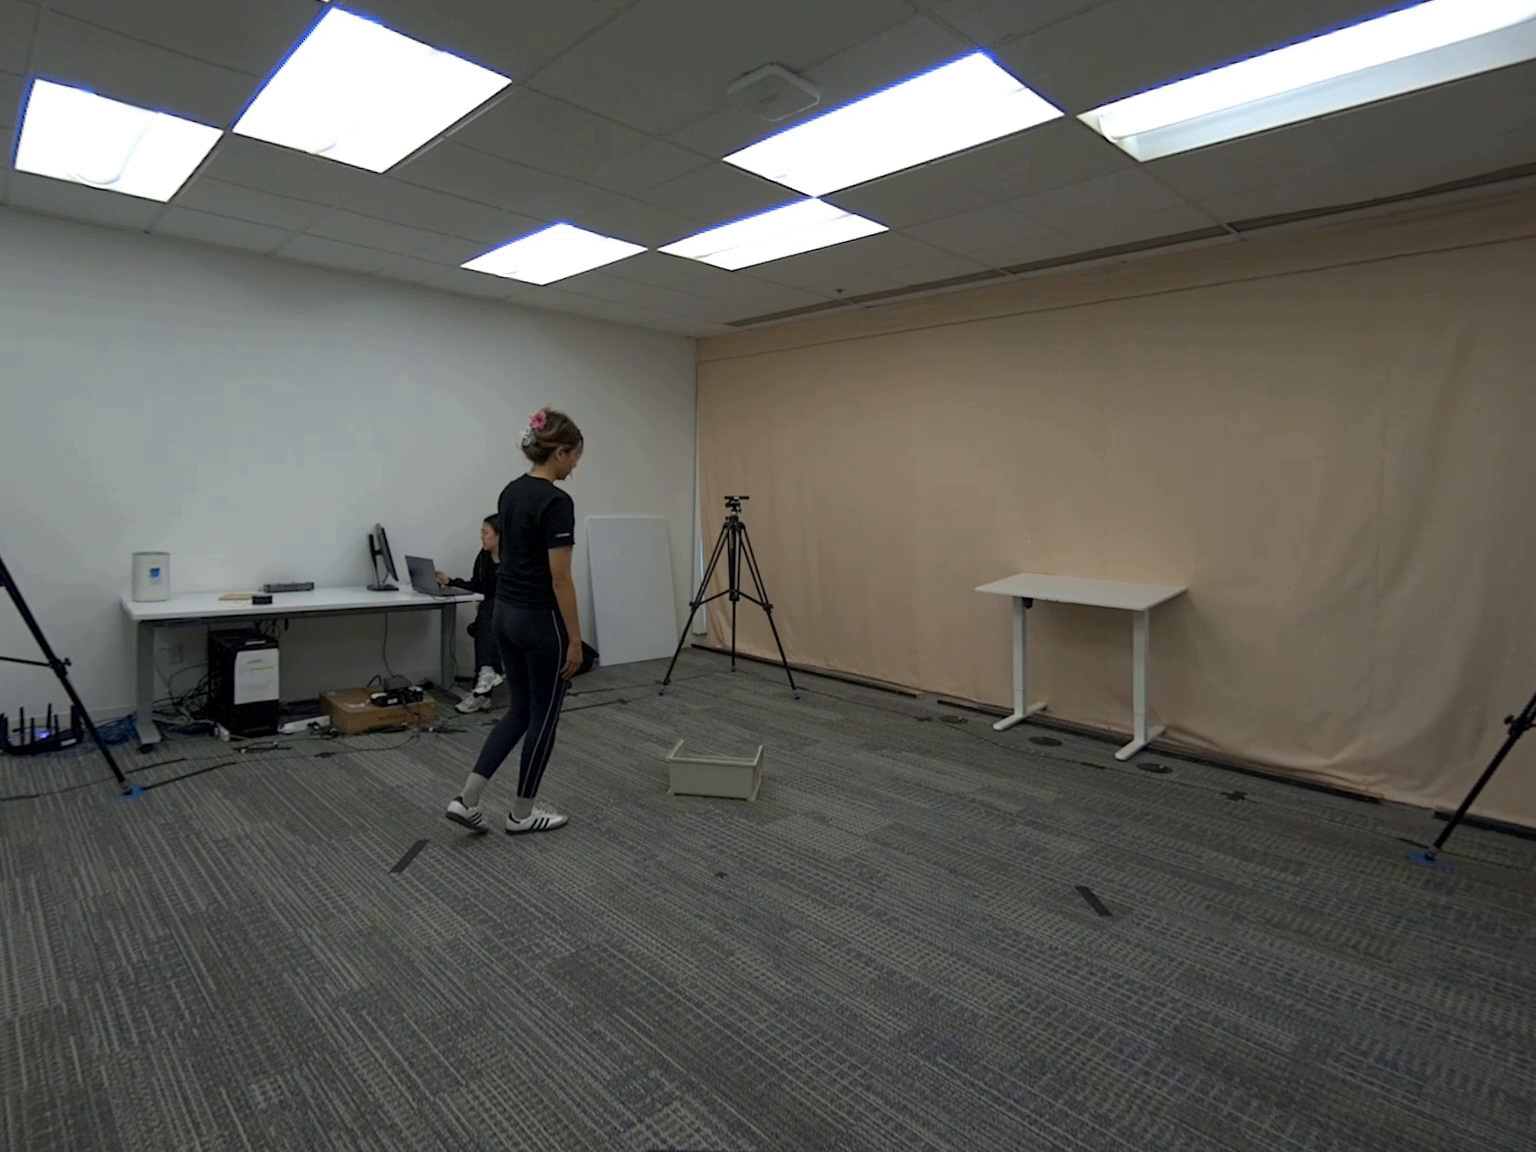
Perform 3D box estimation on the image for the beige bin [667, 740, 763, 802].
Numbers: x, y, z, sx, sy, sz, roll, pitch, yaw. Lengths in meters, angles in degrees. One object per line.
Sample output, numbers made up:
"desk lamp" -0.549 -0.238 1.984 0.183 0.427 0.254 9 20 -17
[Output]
"beige bin" -0.258 0.929 4.084 0.425 0.188 0.376 3 6 7
